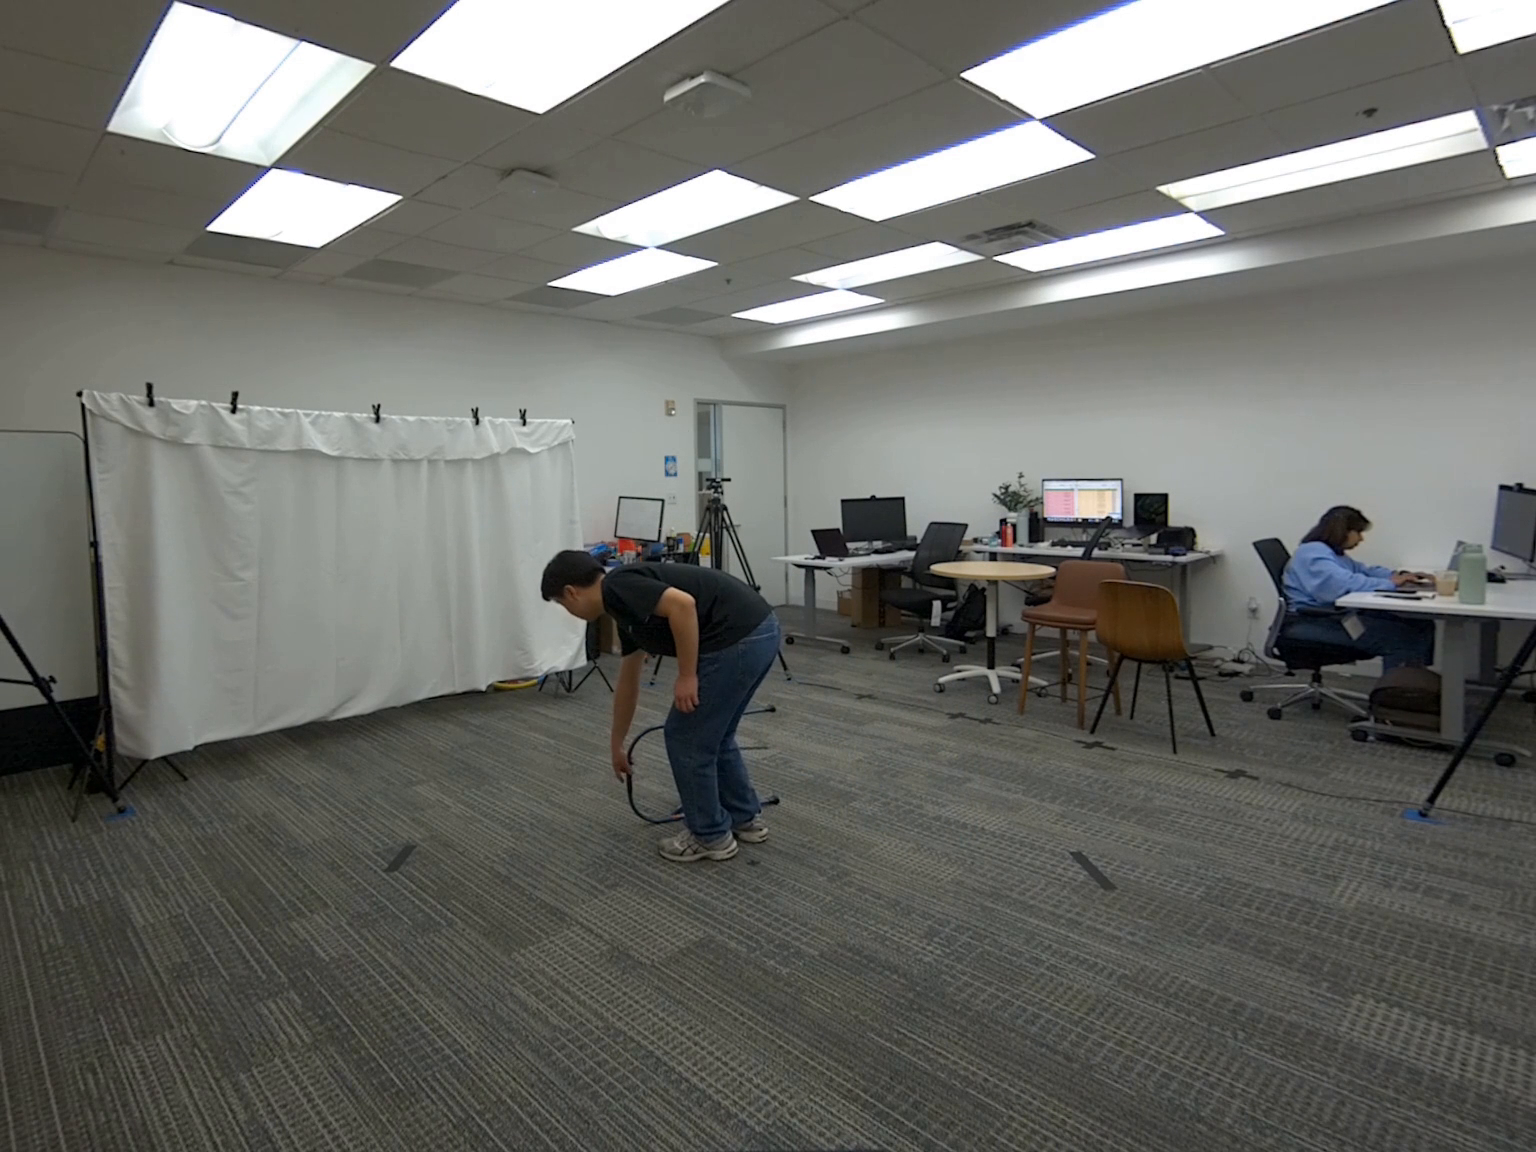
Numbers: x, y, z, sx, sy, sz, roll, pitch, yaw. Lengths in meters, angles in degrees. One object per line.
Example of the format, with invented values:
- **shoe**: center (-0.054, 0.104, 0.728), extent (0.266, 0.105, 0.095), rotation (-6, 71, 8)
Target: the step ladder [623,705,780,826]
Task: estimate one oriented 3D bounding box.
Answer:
- **step ladder**: center (-0.291, 0.783, 3.576), extent (0.590, 0.429, 0.359), rotation (-7, 5, -44)
